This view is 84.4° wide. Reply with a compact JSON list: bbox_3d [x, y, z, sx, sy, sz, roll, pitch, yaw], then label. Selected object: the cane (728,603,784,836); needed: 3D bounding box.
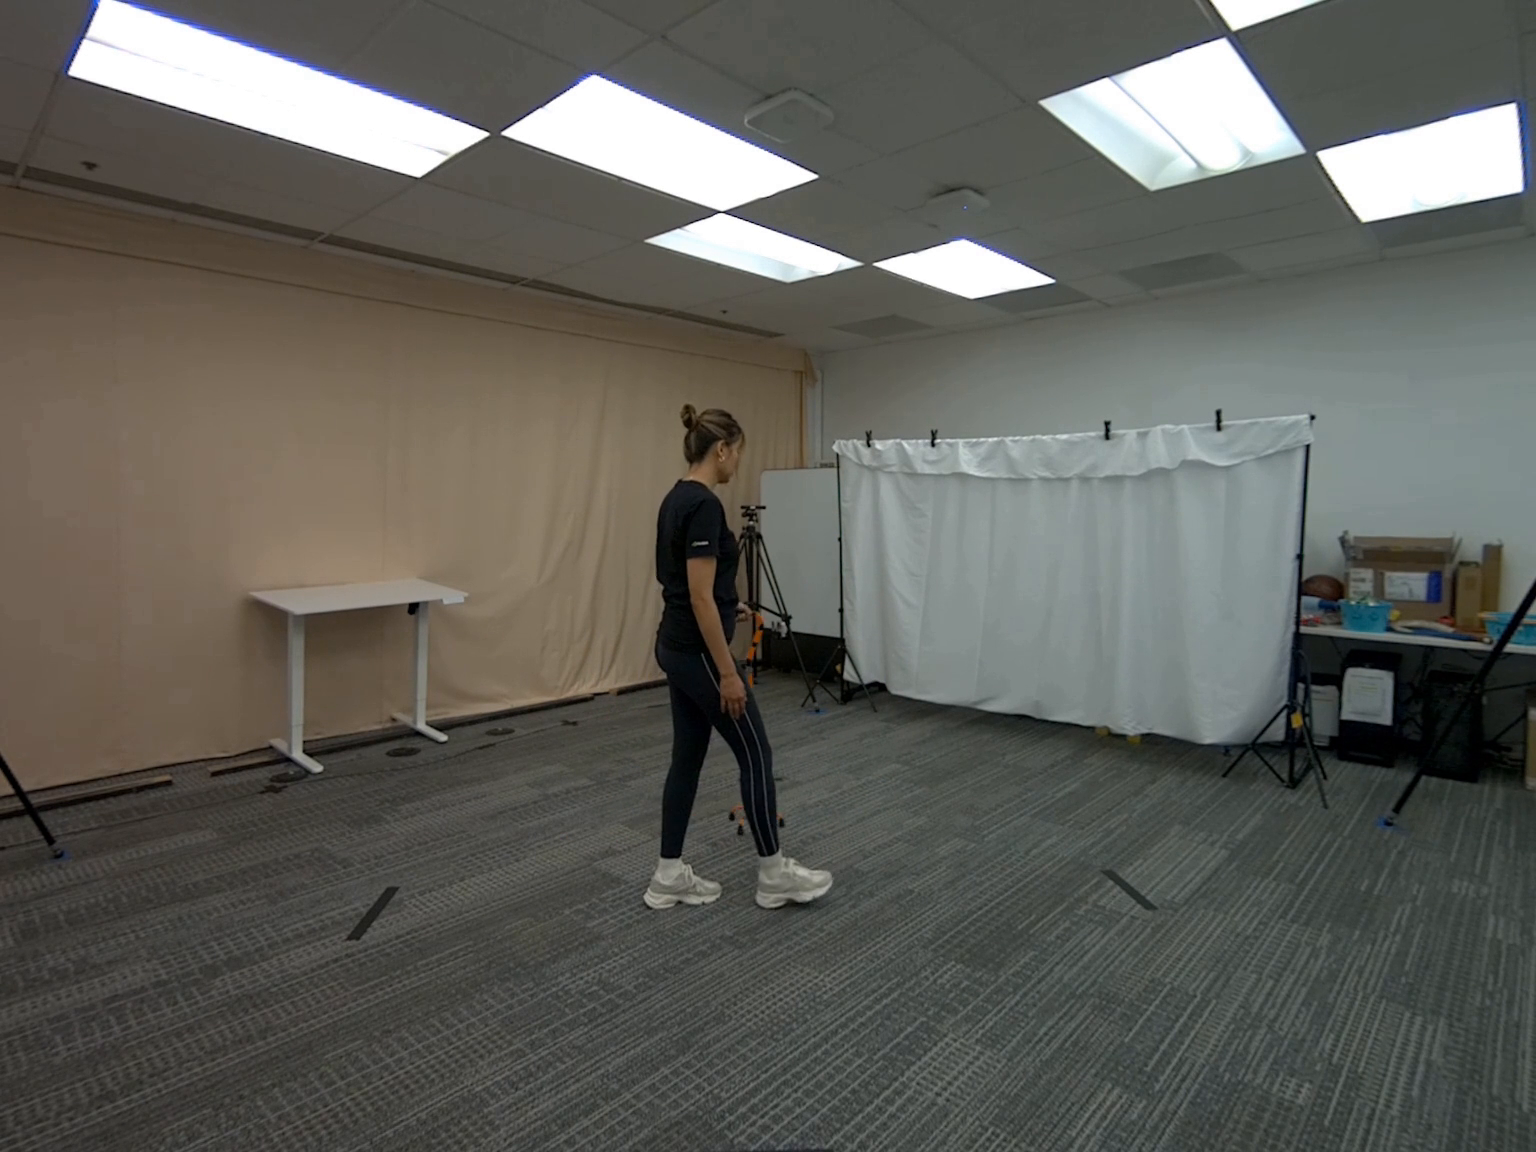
[{"bbox_3d":[-0.057,0.576,3.379,0.203,0.901,0.155,-5,11,-17],"label":"cane"}]
